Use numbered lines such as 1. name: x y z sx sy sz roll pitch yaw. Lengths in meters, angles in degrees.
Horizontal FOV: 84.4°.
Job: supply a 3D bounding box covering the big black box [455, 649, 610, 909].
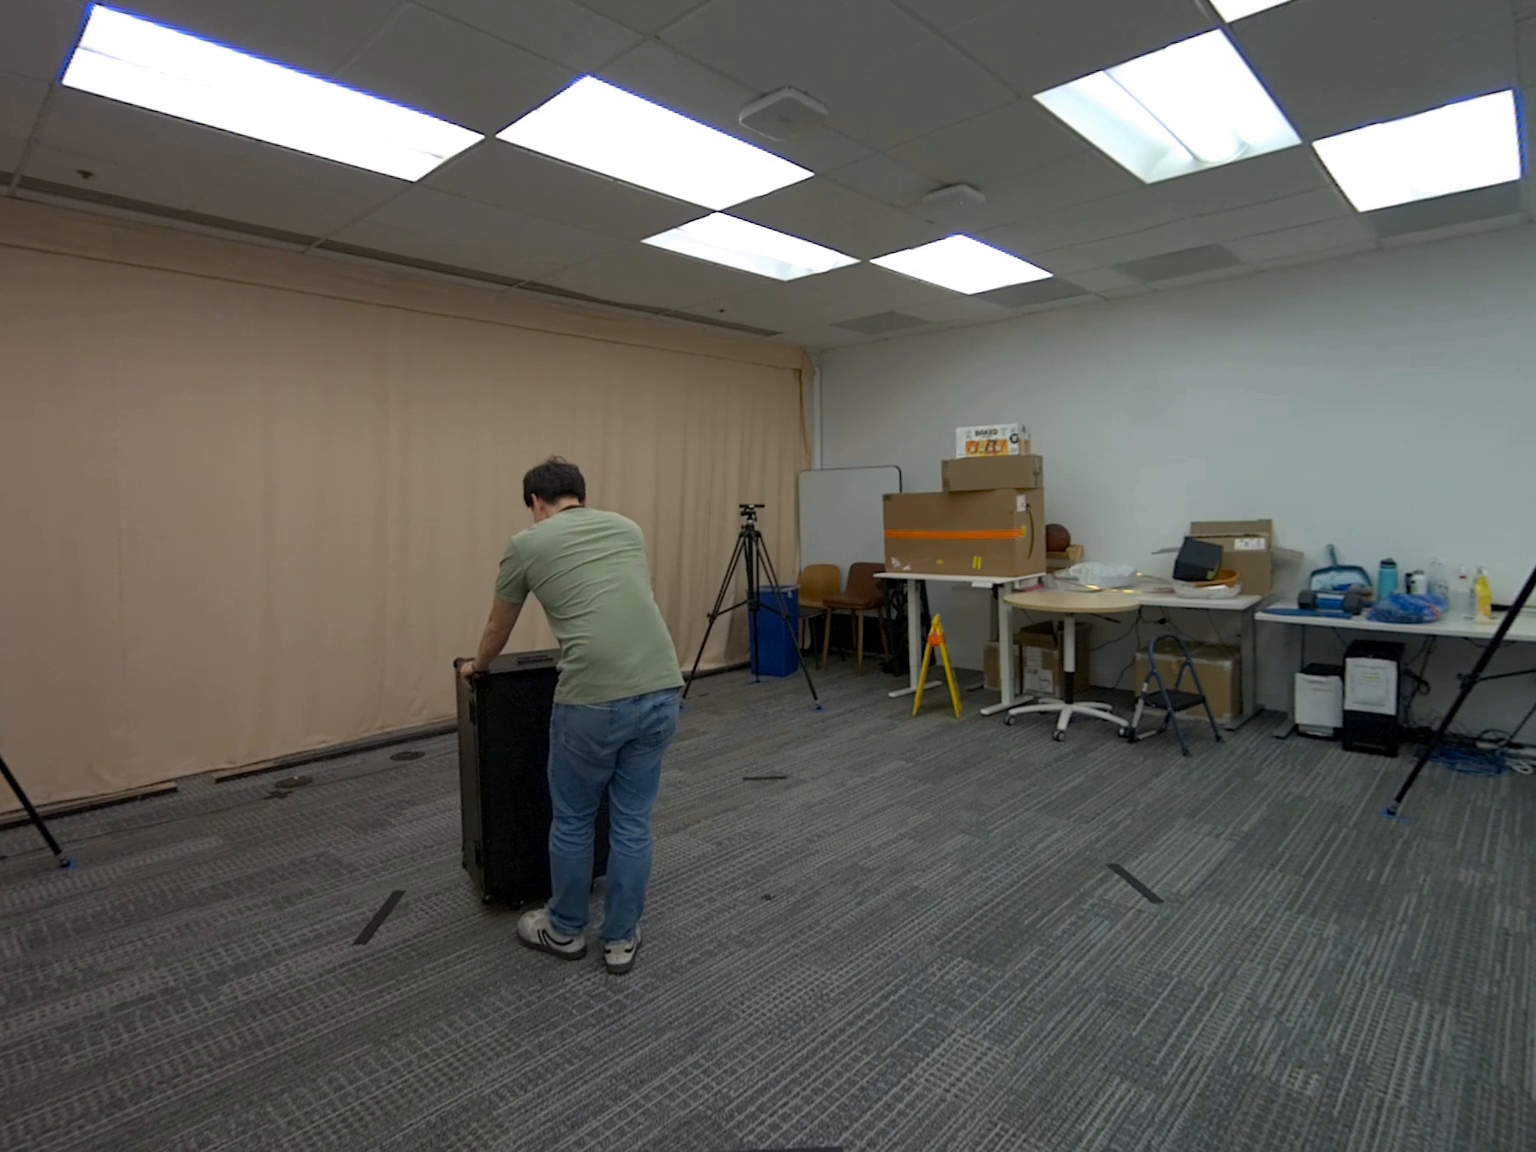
1. big black box: -0.861 0.726 3.083 0.508 0.860 0.407 -3 3 -29
